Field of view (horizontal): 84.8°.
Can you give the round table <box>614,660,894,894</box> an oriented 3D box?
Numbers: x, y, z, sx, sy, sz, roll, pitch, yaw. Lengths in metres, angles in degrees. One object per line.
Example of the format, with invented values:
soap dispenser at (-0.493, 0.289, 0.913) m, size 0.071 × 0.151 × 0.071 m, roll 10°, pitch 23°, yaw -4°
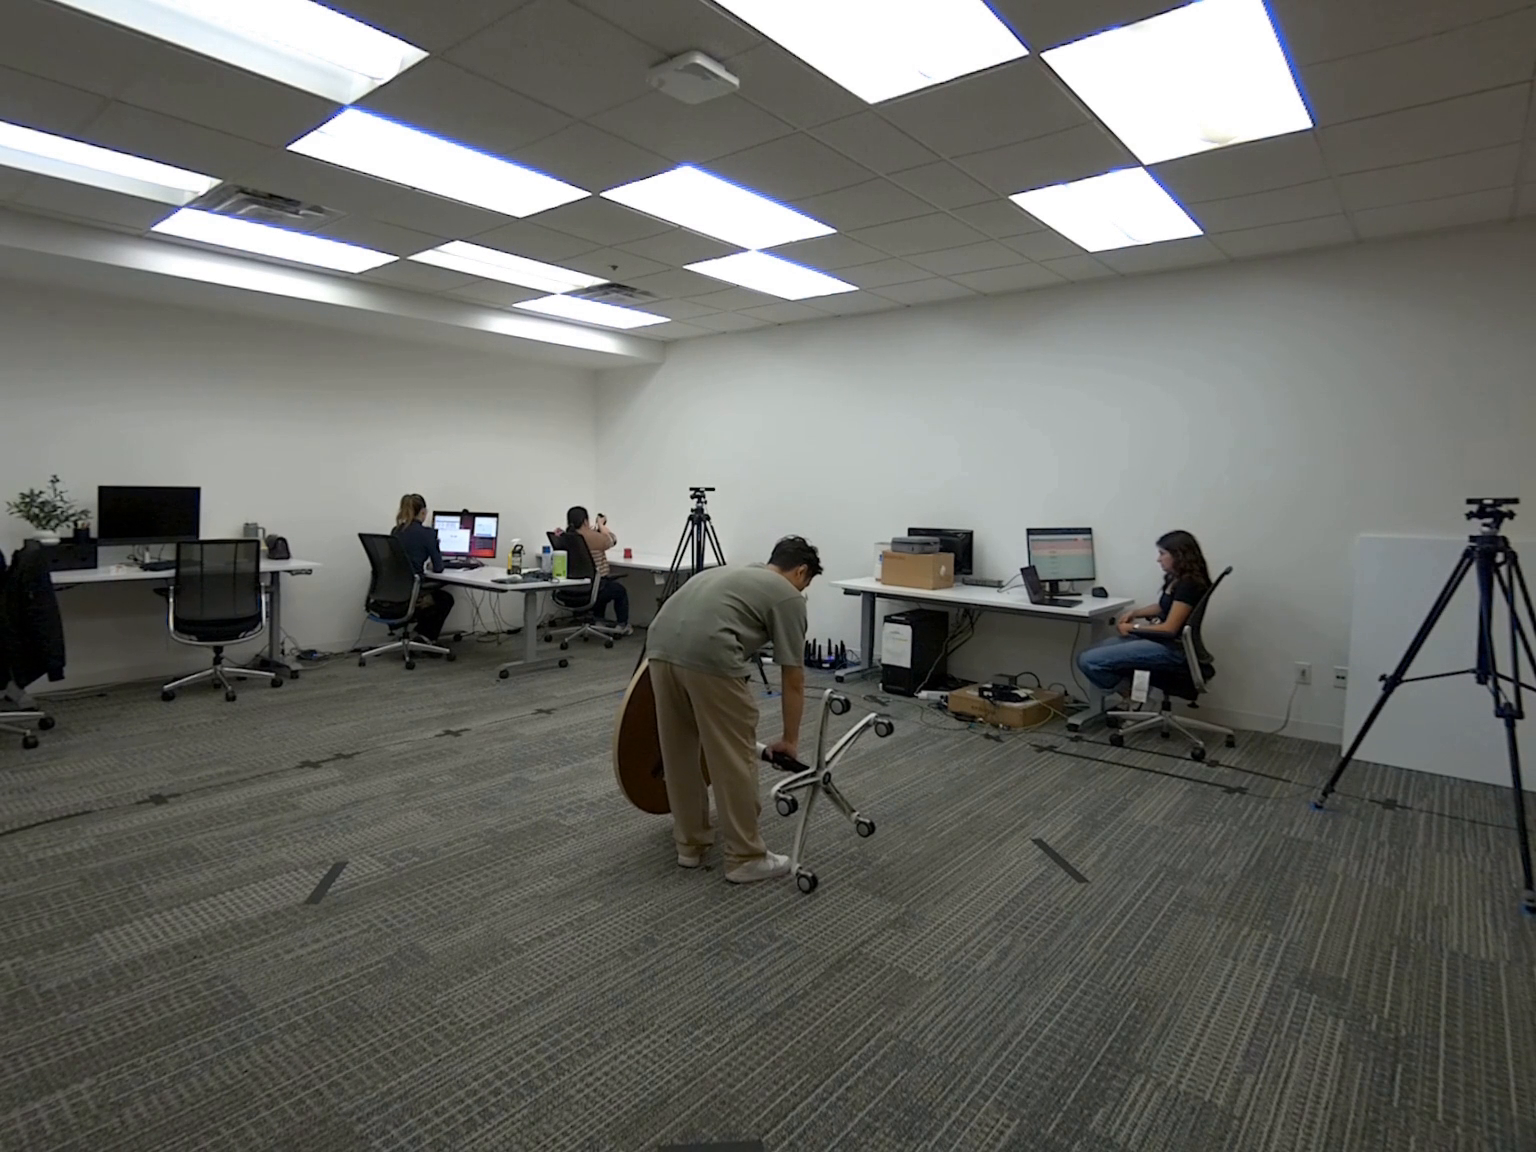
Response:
round table at (-0.043, 0.666, 3.251) m, size 0.815 × 0.780 × 0.762 m, roll 12°, pitch 10°, yaw 36°
